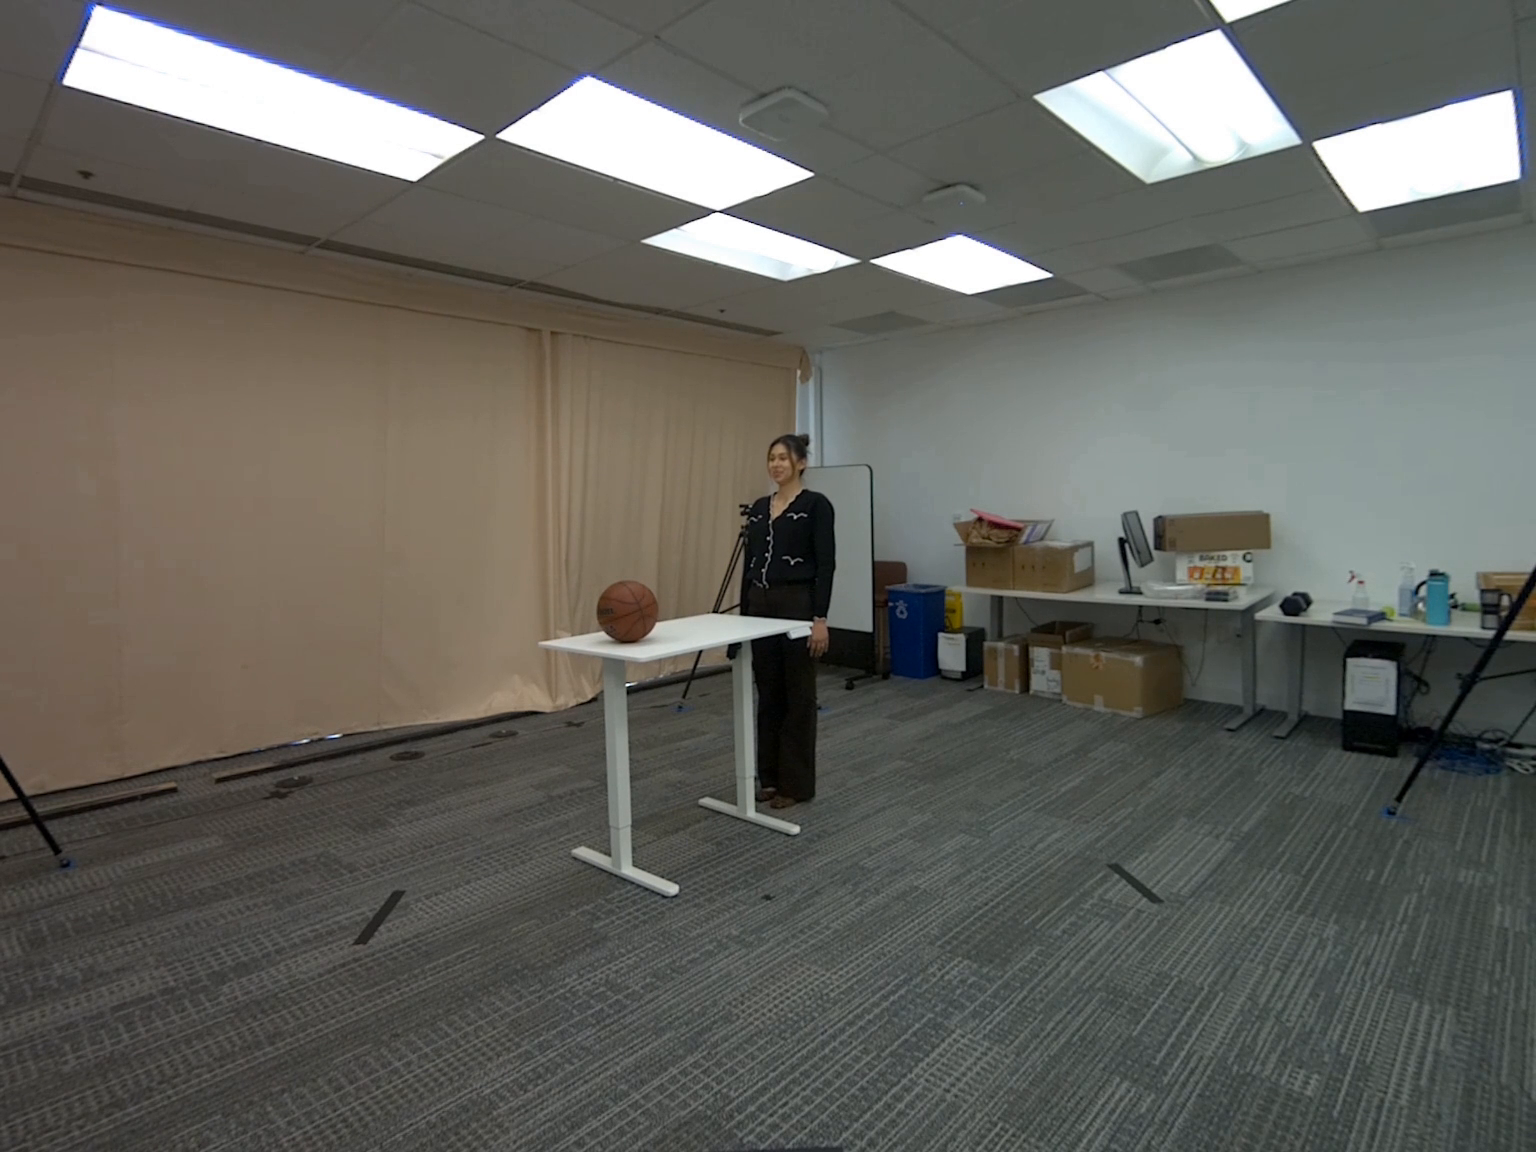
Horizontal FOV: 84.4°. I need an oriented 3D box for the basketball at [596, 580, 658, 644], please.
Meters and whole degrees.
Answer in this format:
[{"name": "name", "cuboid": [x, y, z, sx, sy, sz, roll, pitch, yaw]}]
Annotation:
[{"name": "basketball", "cuboid": [-0.541, 0.138, 3.217, 0.236, 0.235, 0.237, -1, 4, -2]}]
